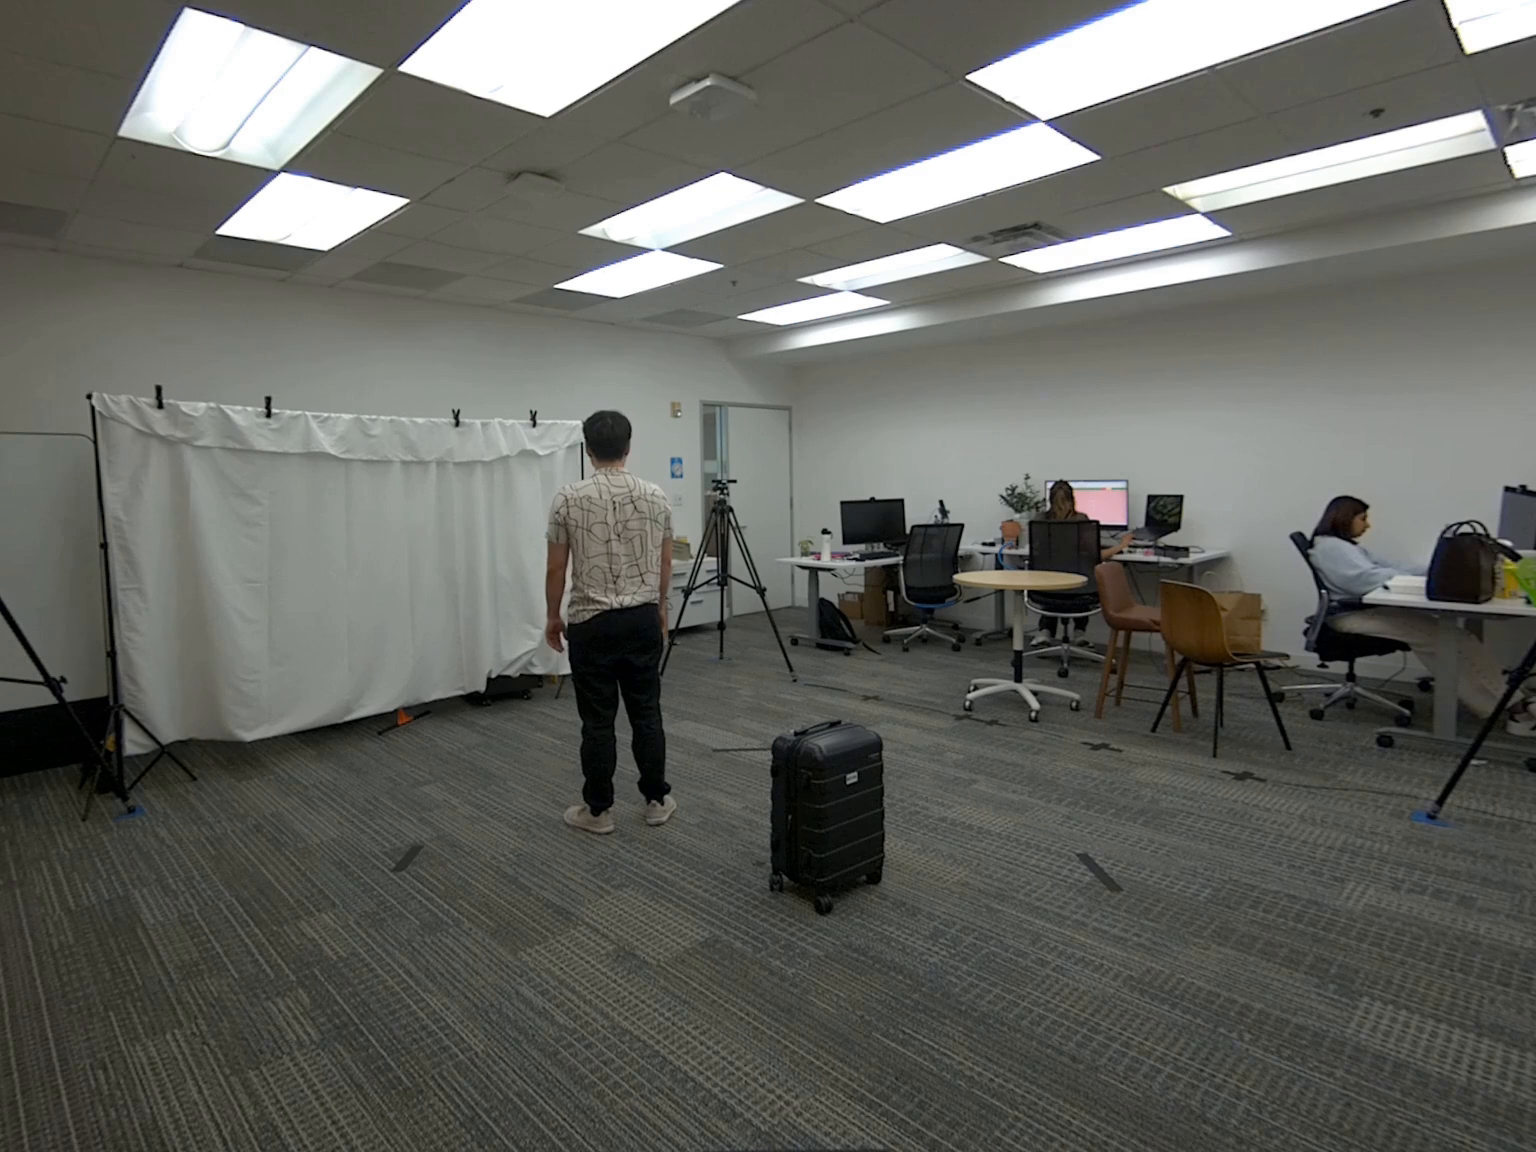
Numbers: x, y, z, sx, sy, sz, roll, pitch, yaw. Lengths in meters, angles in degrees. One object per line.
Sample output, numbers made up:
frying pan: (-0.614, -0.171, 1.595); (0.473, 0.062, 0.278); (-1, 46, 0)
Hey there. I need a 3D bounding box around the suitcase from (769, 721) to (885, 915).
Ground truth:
suitcase: (0.209, 0.787, 2.928); (0.365, 0.547, 0.256); (-3, 5, -41)
